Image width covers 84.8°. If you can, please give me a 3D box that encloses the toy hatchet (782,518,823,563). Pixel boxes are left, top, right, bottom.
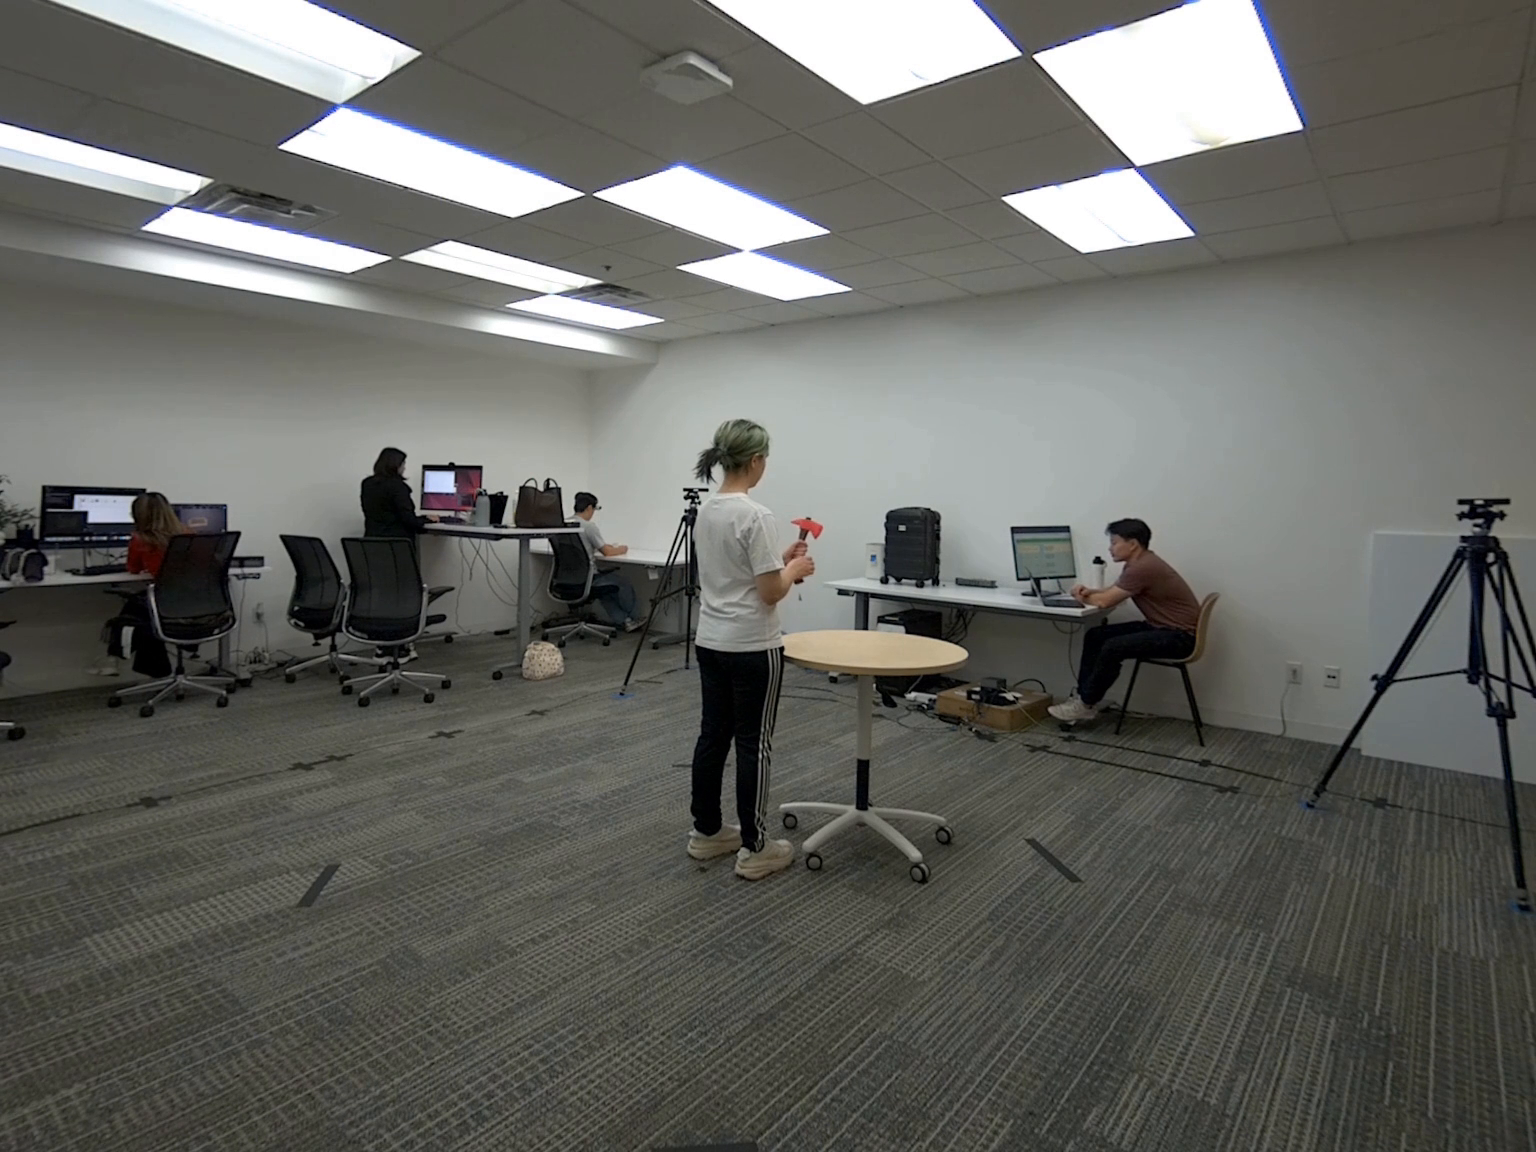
[{"bbox_3d":[0.148,-0.104,3.333,0.133,0.274,0.028,-6,-18,16],"label":"toy hatchet"}]
